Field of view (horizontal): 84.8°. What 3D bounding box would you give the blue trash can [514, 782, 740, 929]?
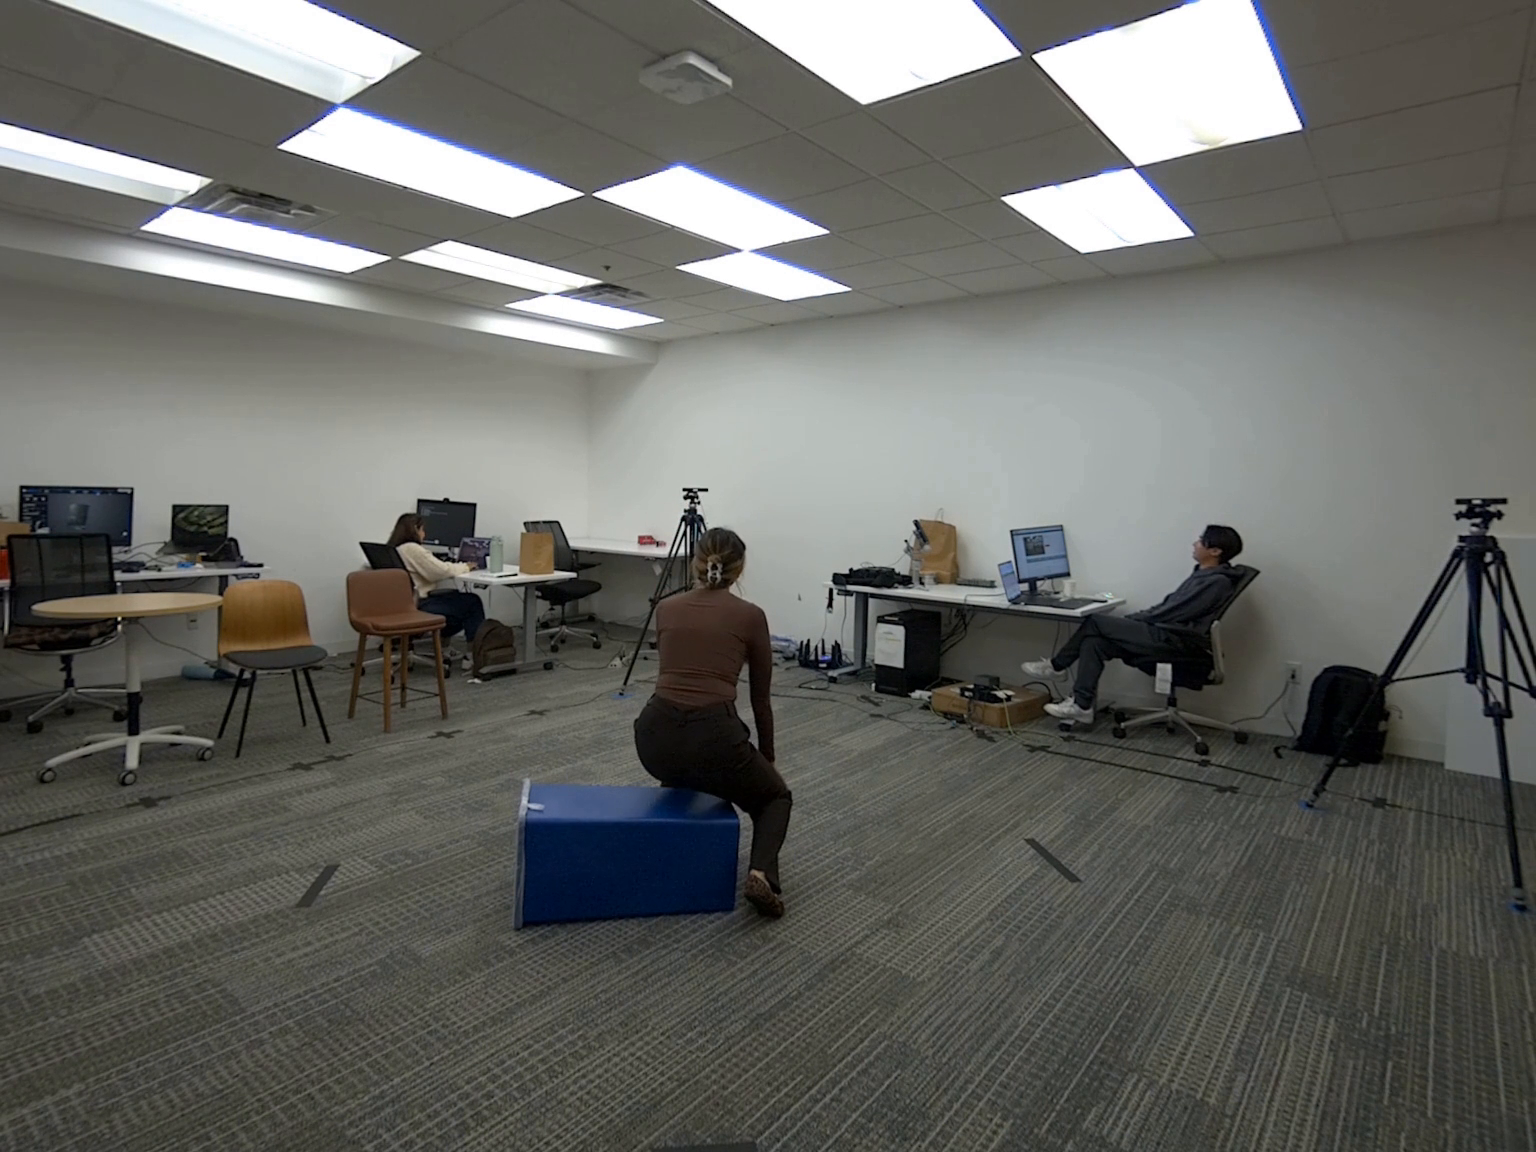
[{"bbox_3d":[-0.496,0.919,2.883,0.705,0.377,0.380,3,3,-11],"label":"blue trash can"}]
